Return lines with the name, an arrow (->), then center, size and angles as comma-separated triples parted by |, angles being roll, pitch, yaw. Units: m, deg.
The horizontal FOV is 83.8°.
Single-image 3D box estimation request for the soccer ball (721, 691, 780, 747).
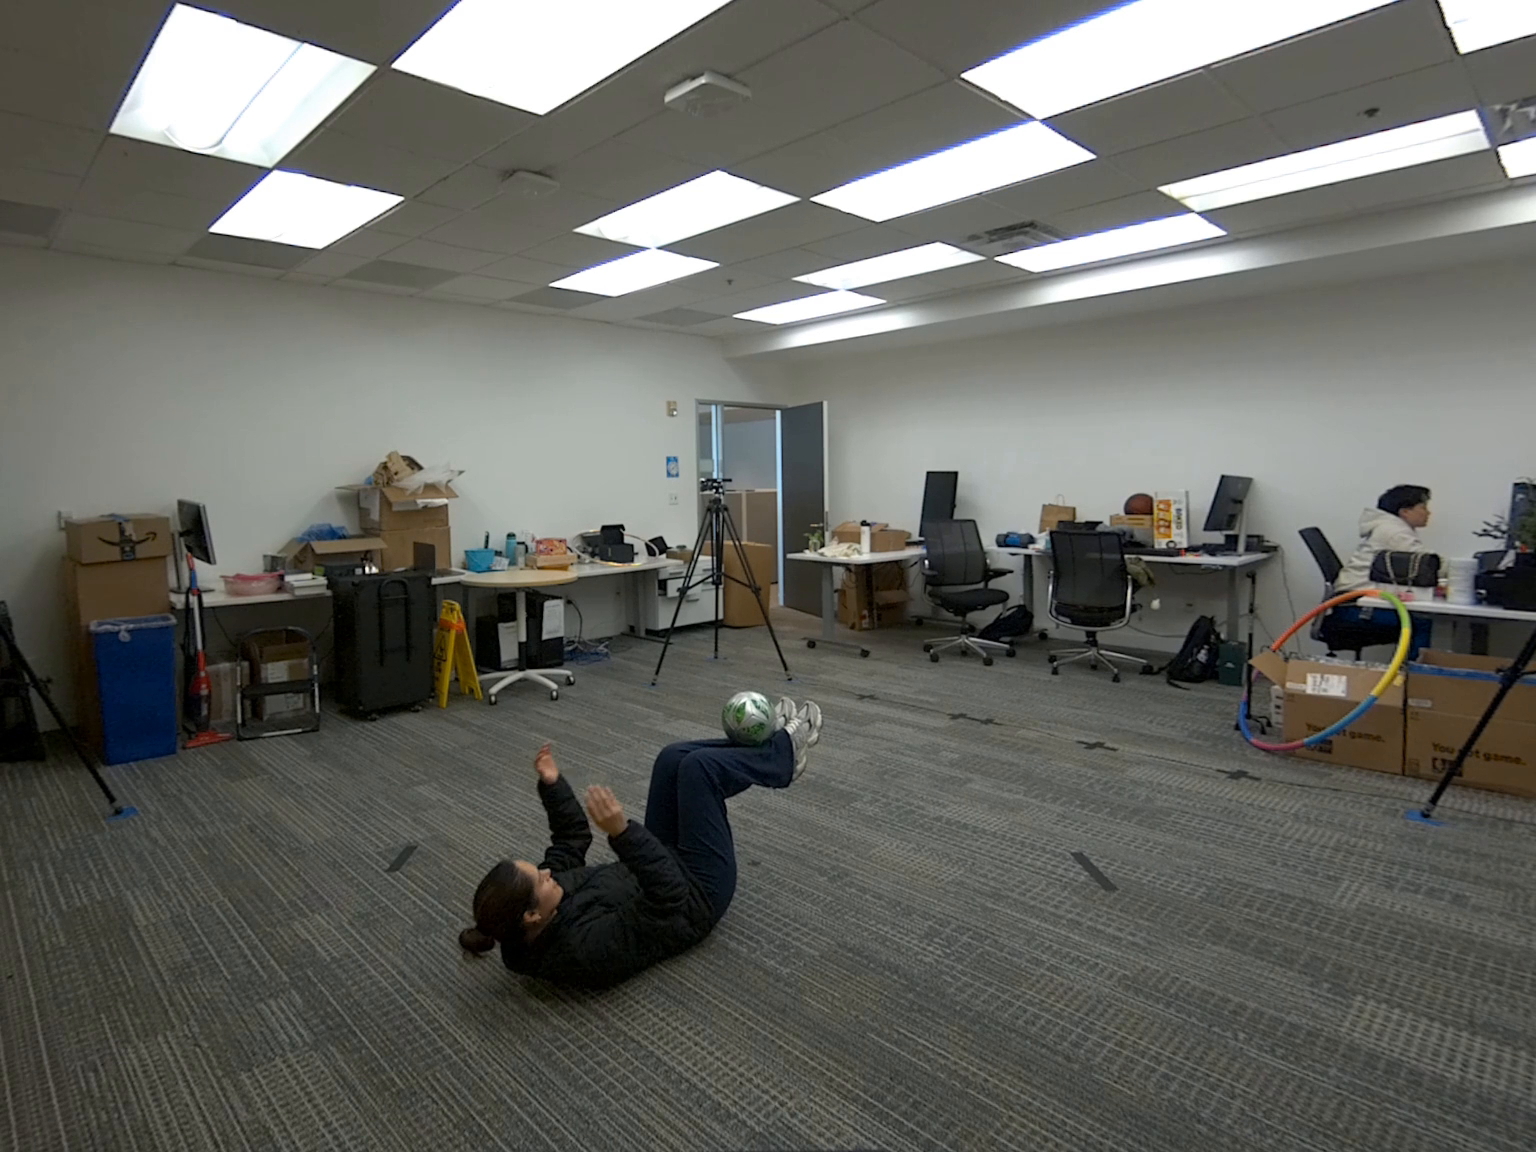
soccer ball -> -0.057, 0.481, 2.864 | 0.187, 0.187, 0.188 | 0, 1, -2
